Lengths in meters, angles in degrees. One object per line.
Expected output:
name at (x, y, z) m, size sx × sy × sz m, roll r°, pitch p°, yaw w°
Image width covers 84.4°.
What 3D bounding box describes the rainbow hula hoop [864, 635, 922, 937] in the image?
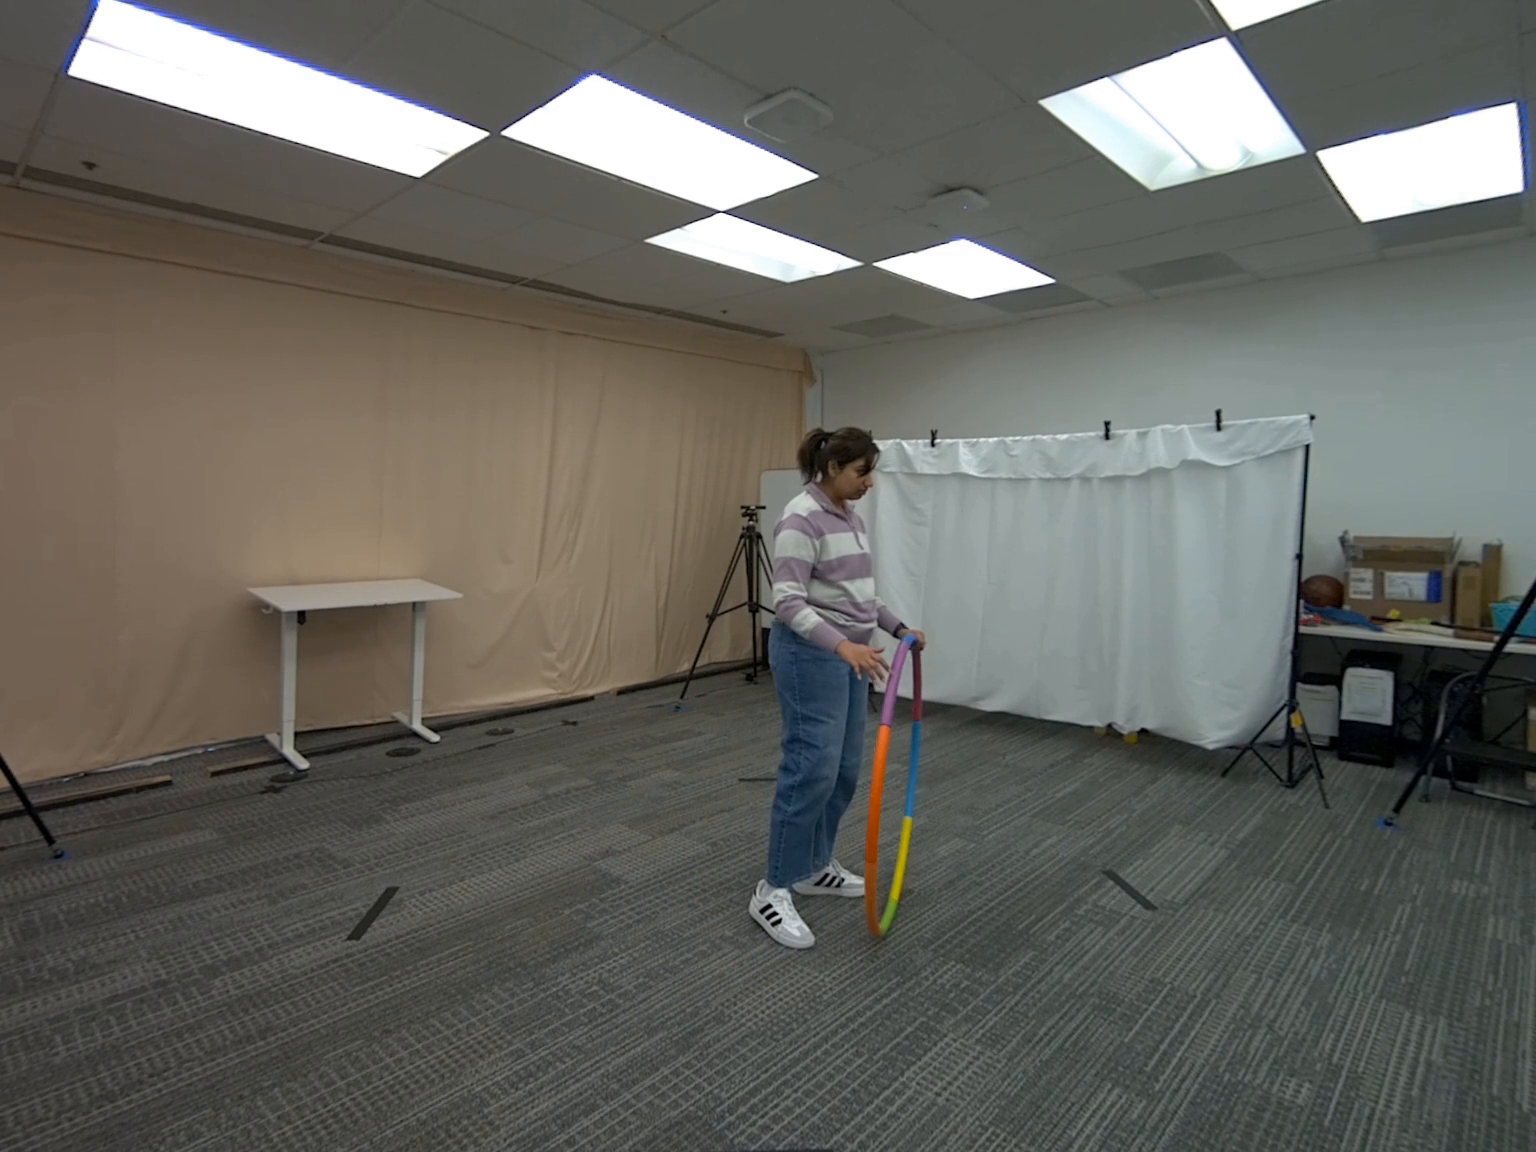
rainbow hula hoop at (0.437, 0.676, 2.793) m, size 0.052 × 0.983 × 0.969 m, roll 5°, pitch 5°, yaw 16°
